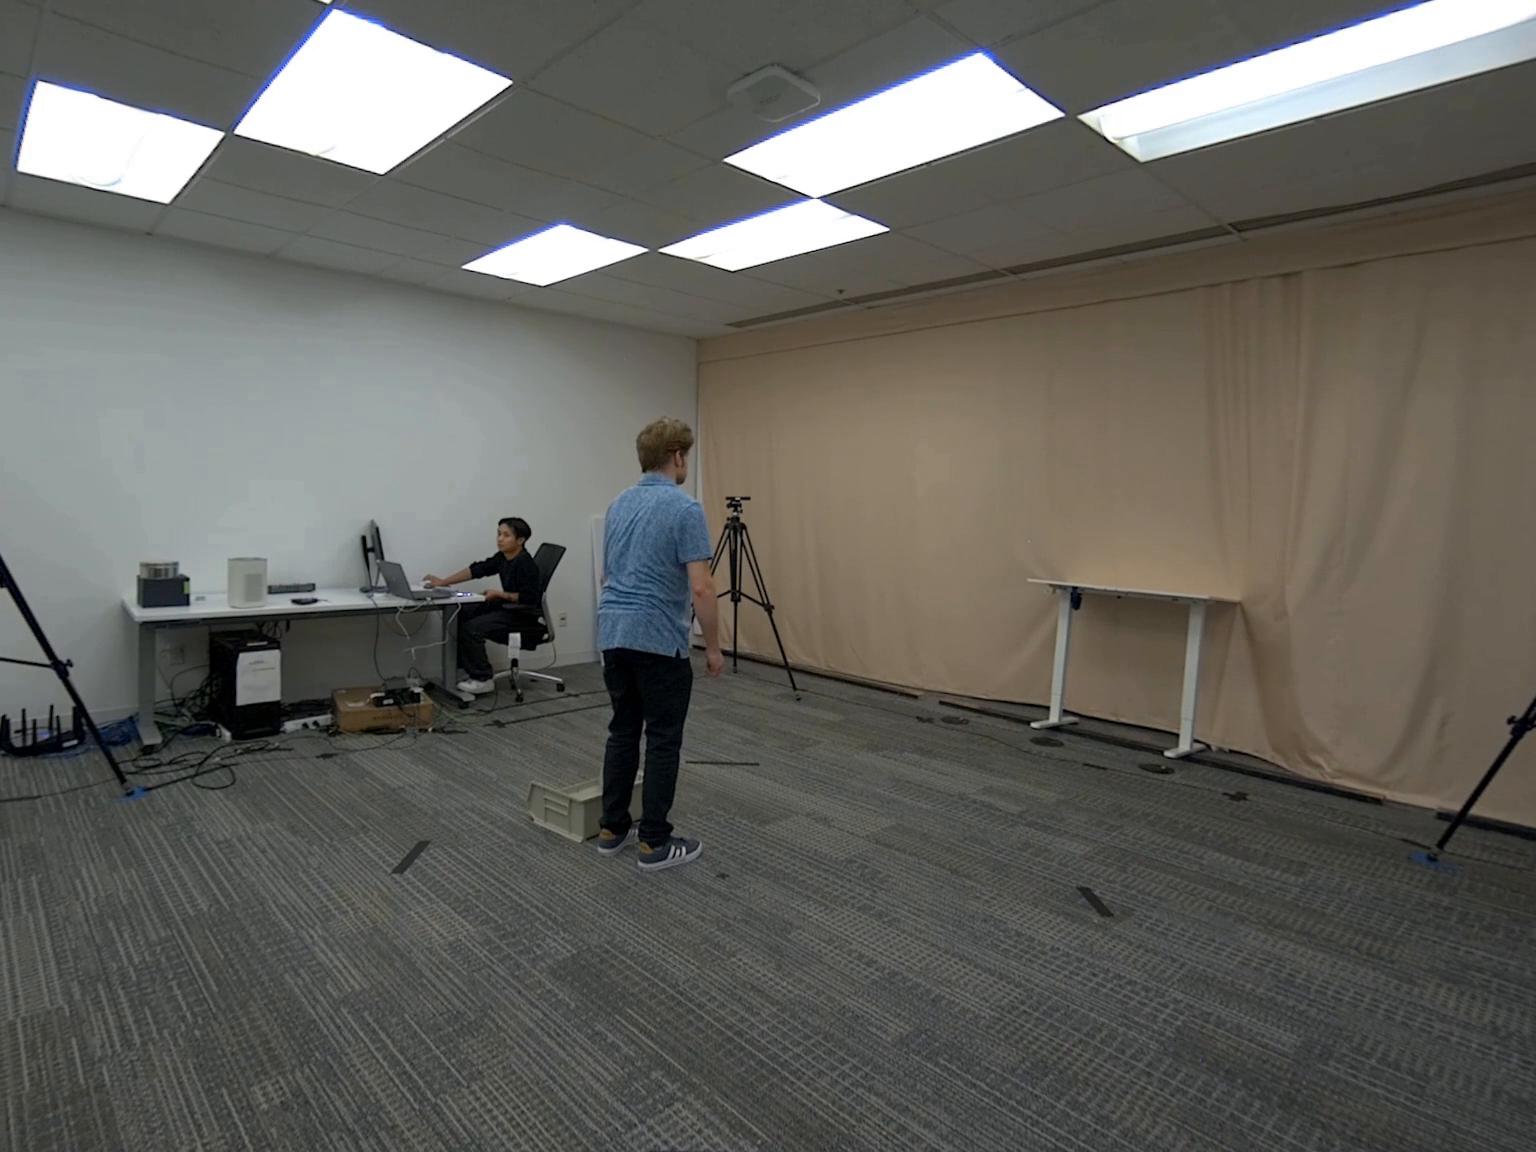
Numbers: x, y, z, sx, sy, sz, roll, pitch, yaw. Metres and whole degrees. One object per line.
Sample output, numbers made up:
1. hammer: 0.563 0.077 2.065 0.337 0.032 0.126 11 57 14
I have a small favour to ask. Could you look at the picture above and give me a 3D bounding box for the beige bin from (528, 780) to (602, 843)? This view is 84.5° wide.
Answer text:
1. beige bin: -0.765 0.955 3.632 0.387 0.188 0.413 7 7 40
